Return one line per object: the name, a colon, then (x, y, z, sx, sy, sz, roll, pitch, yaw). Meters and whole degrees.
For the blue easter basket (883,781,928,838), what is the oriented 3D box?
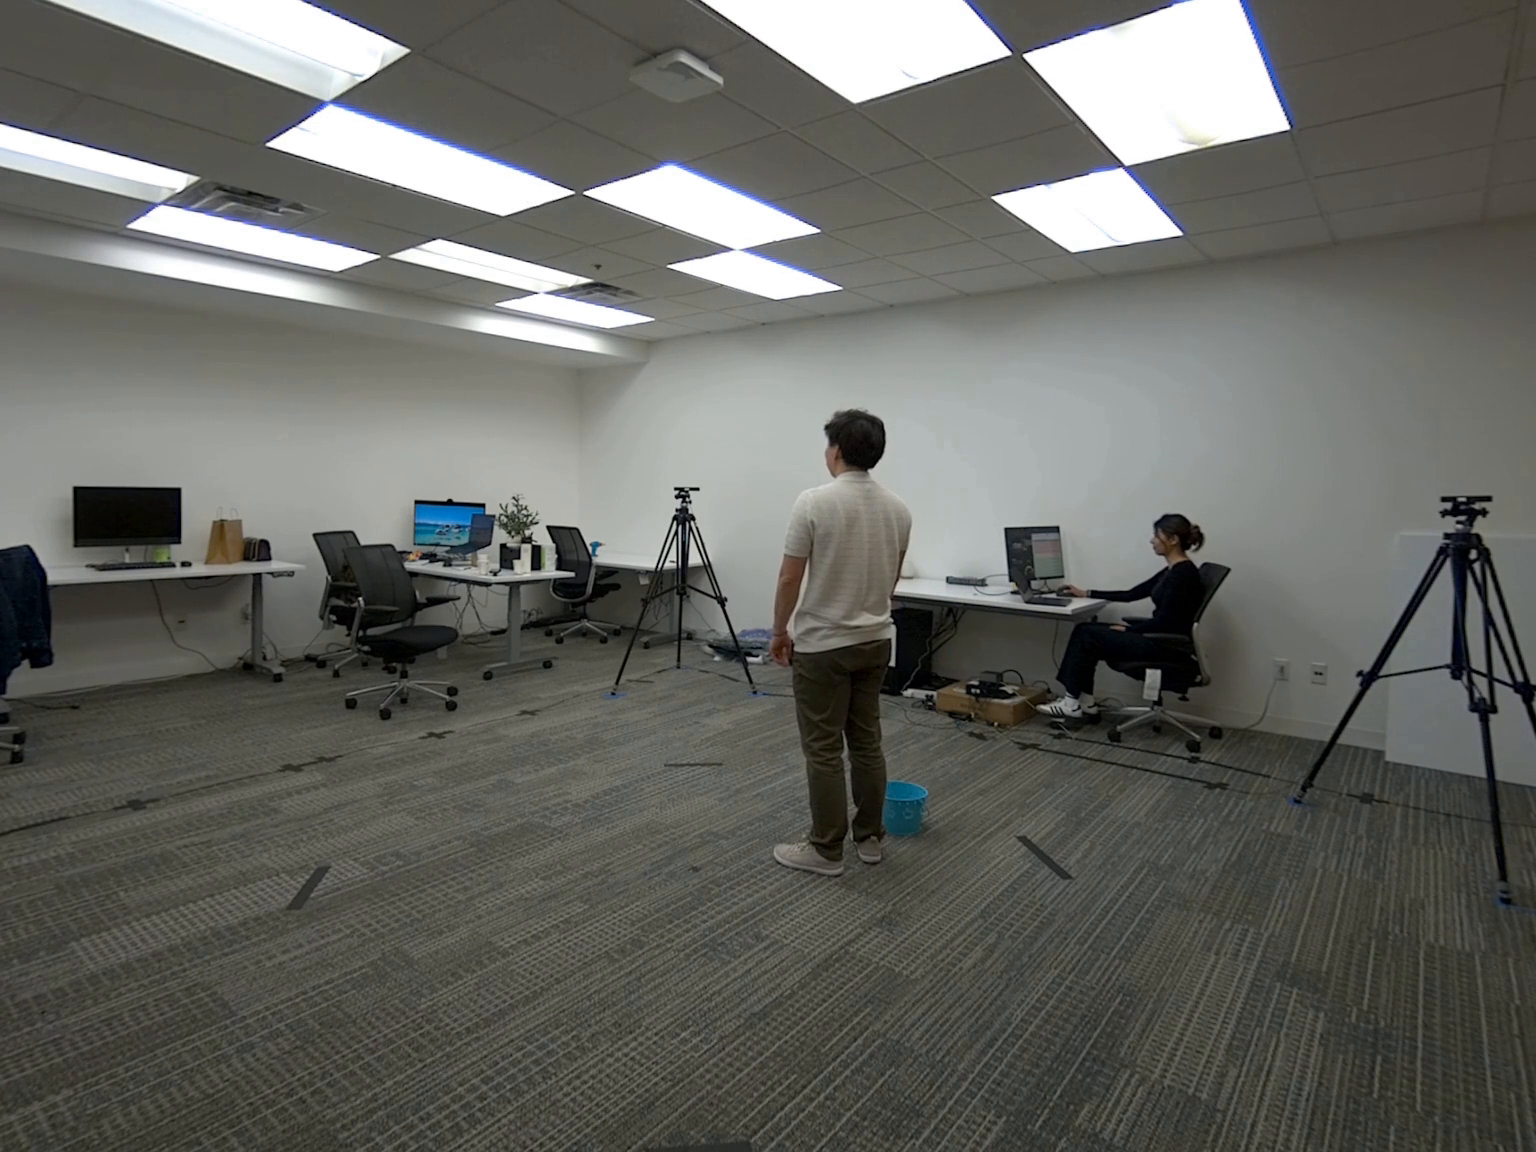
blue easter basket: (0.545, 0.961, 3.541, 0.243, 0.155, 0.245, 0, 5, -2)
